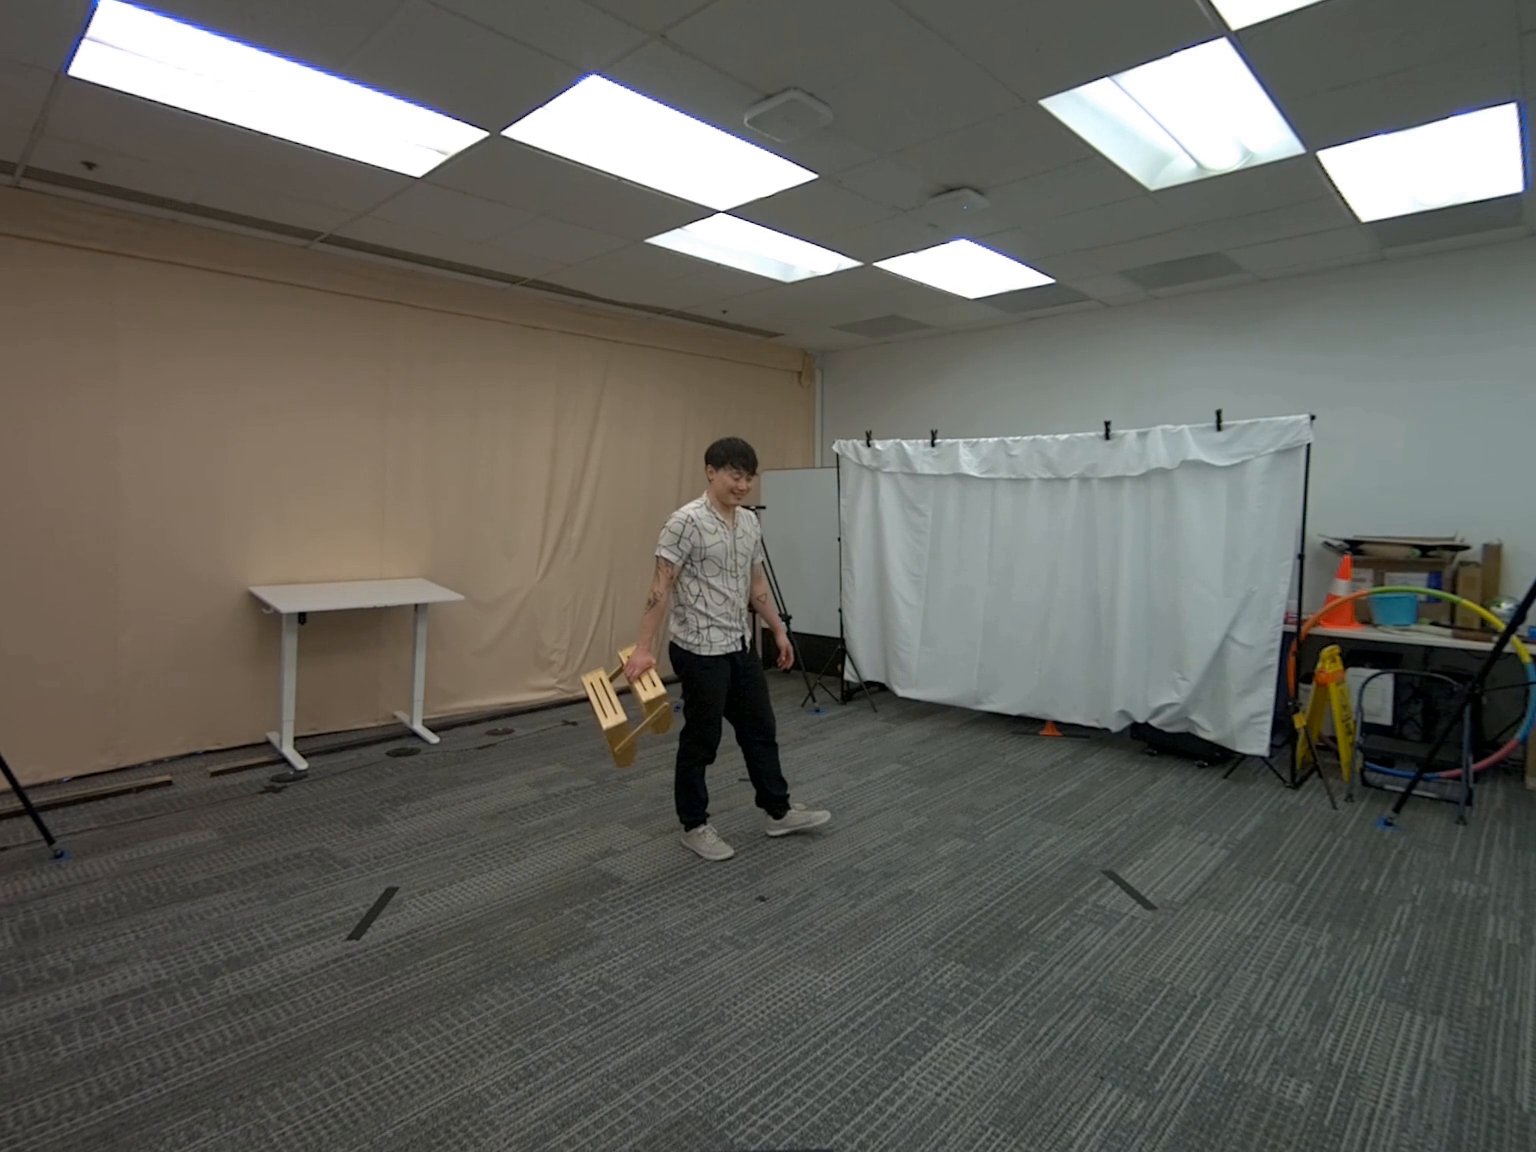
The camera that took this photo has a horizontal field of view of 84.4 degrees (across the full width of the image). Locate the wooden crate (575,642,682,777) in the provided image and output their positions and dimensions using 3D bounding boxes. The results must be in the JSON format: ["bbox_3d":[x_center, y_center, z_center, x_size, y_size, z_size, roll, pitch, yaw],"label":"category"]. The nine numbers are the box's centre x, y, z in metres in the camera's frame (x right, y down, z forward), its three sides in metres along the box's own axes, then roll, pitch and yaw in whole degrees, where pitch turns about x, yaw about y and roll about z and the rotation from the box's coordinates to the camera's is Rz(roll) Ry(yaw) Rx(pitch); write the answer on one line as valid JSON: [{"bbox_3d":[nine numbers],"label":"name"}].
[{"bbox_3d":[-0.529,0.503,3.253,0.270,0.295,0.336,-23,42,-14],"label":"wooden crate"}]
